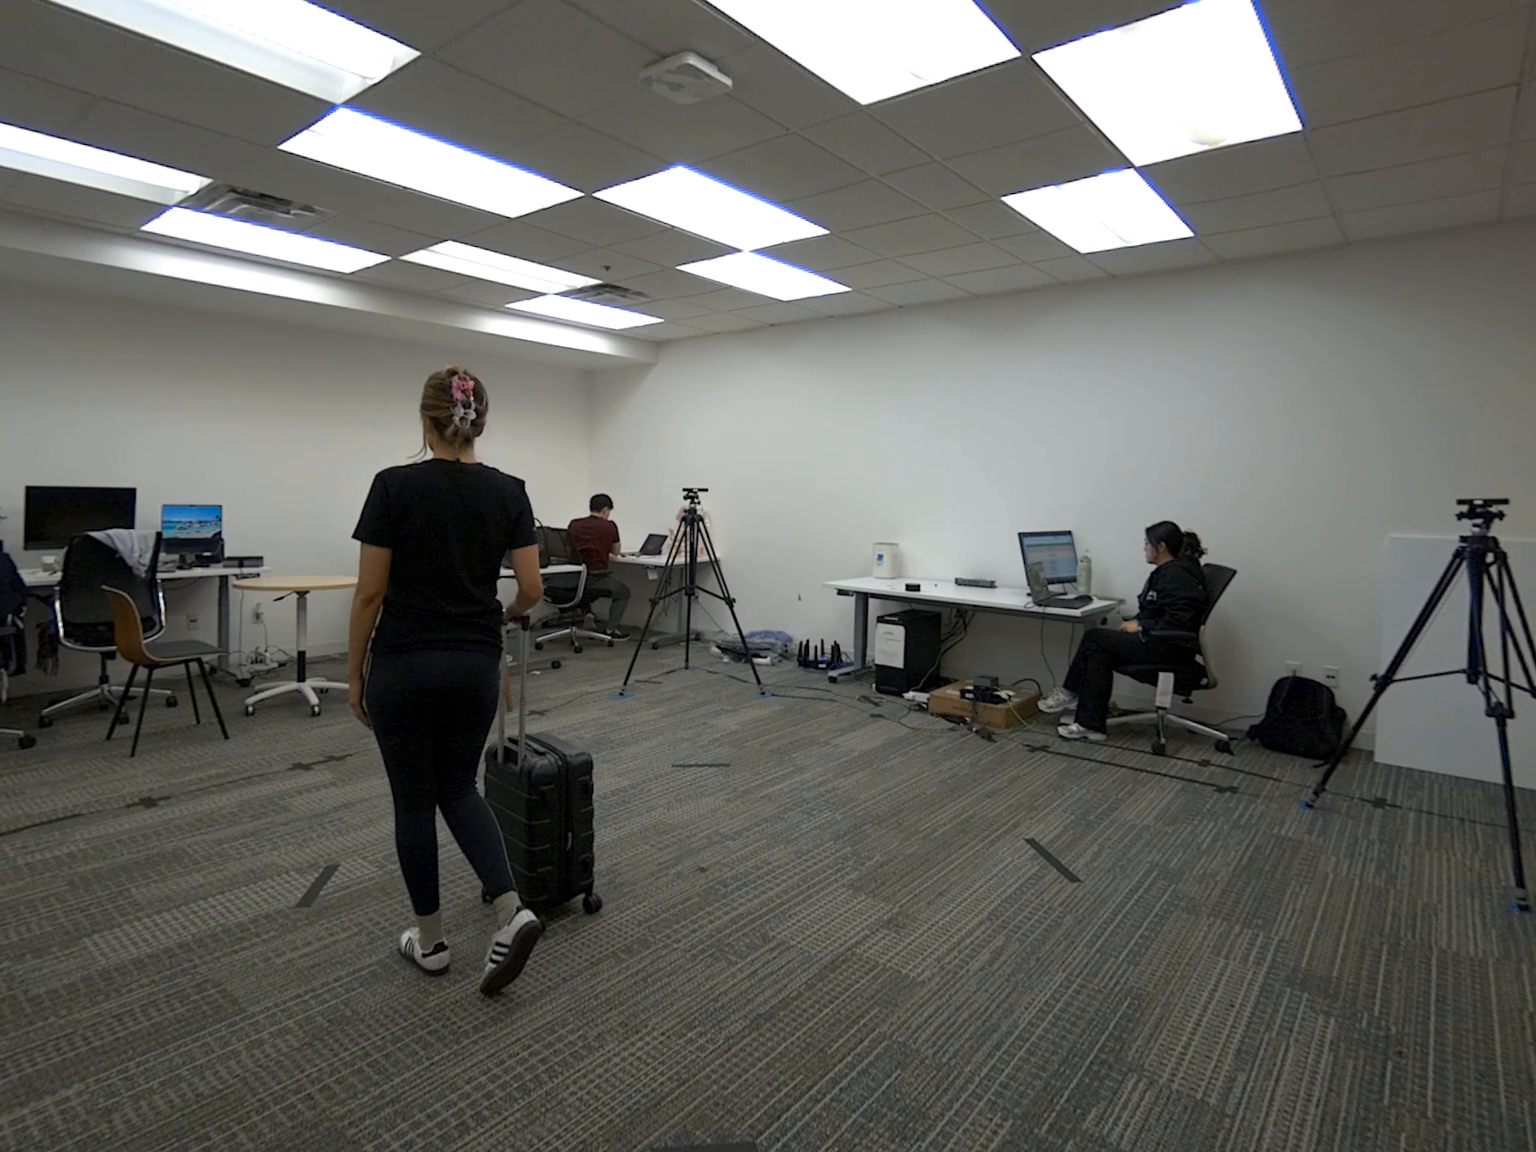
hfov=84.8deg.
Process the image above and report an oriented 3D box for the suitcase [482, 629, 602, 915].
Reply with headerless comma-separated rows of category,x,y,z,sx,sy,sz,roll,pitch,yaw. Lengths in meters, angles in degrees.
suitcase,-0.766,0.610,2.818,0.249,0.978,0.396,0,2,-41
